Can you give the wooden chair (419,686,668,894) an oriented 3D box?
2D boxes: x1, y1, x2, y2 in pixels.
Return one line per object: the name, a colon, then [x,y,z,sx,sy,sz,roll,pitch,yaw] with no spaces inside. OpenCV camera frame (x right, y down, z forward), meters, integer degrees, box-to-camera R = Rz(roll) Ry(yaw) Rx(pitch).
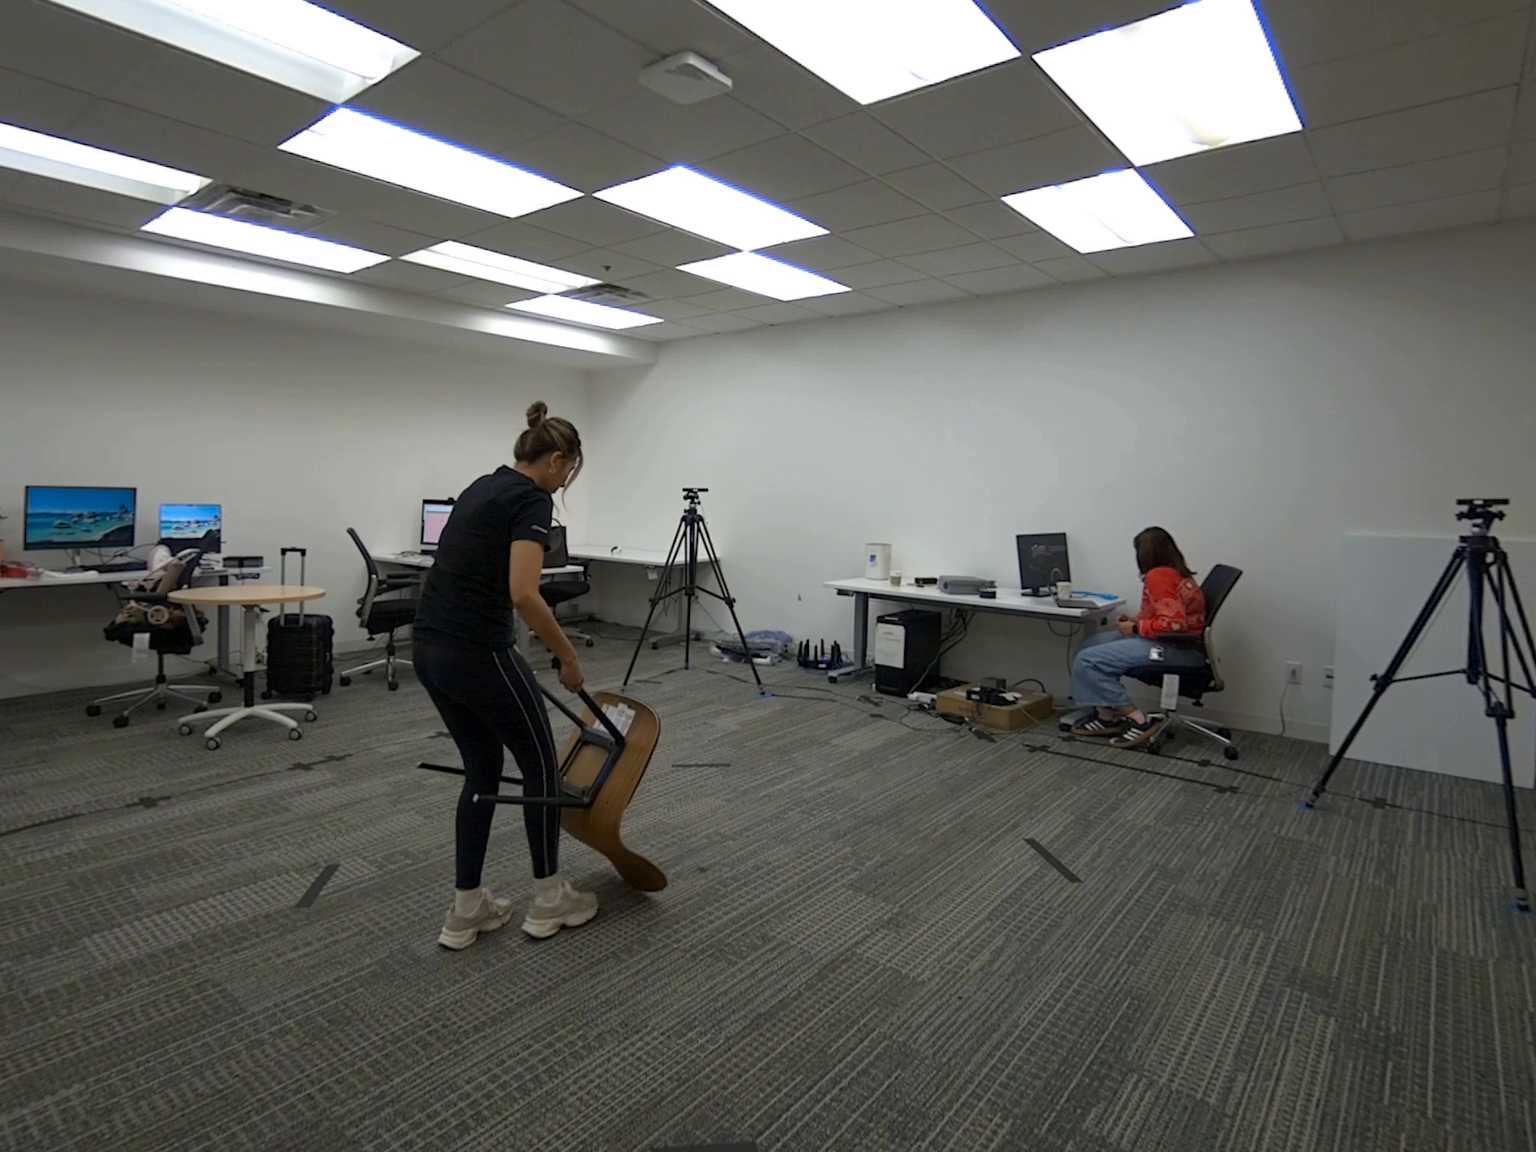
wooden chair: [-0.612,0.628,2.822,0.493,0.526,0.844,1,-34,50]
